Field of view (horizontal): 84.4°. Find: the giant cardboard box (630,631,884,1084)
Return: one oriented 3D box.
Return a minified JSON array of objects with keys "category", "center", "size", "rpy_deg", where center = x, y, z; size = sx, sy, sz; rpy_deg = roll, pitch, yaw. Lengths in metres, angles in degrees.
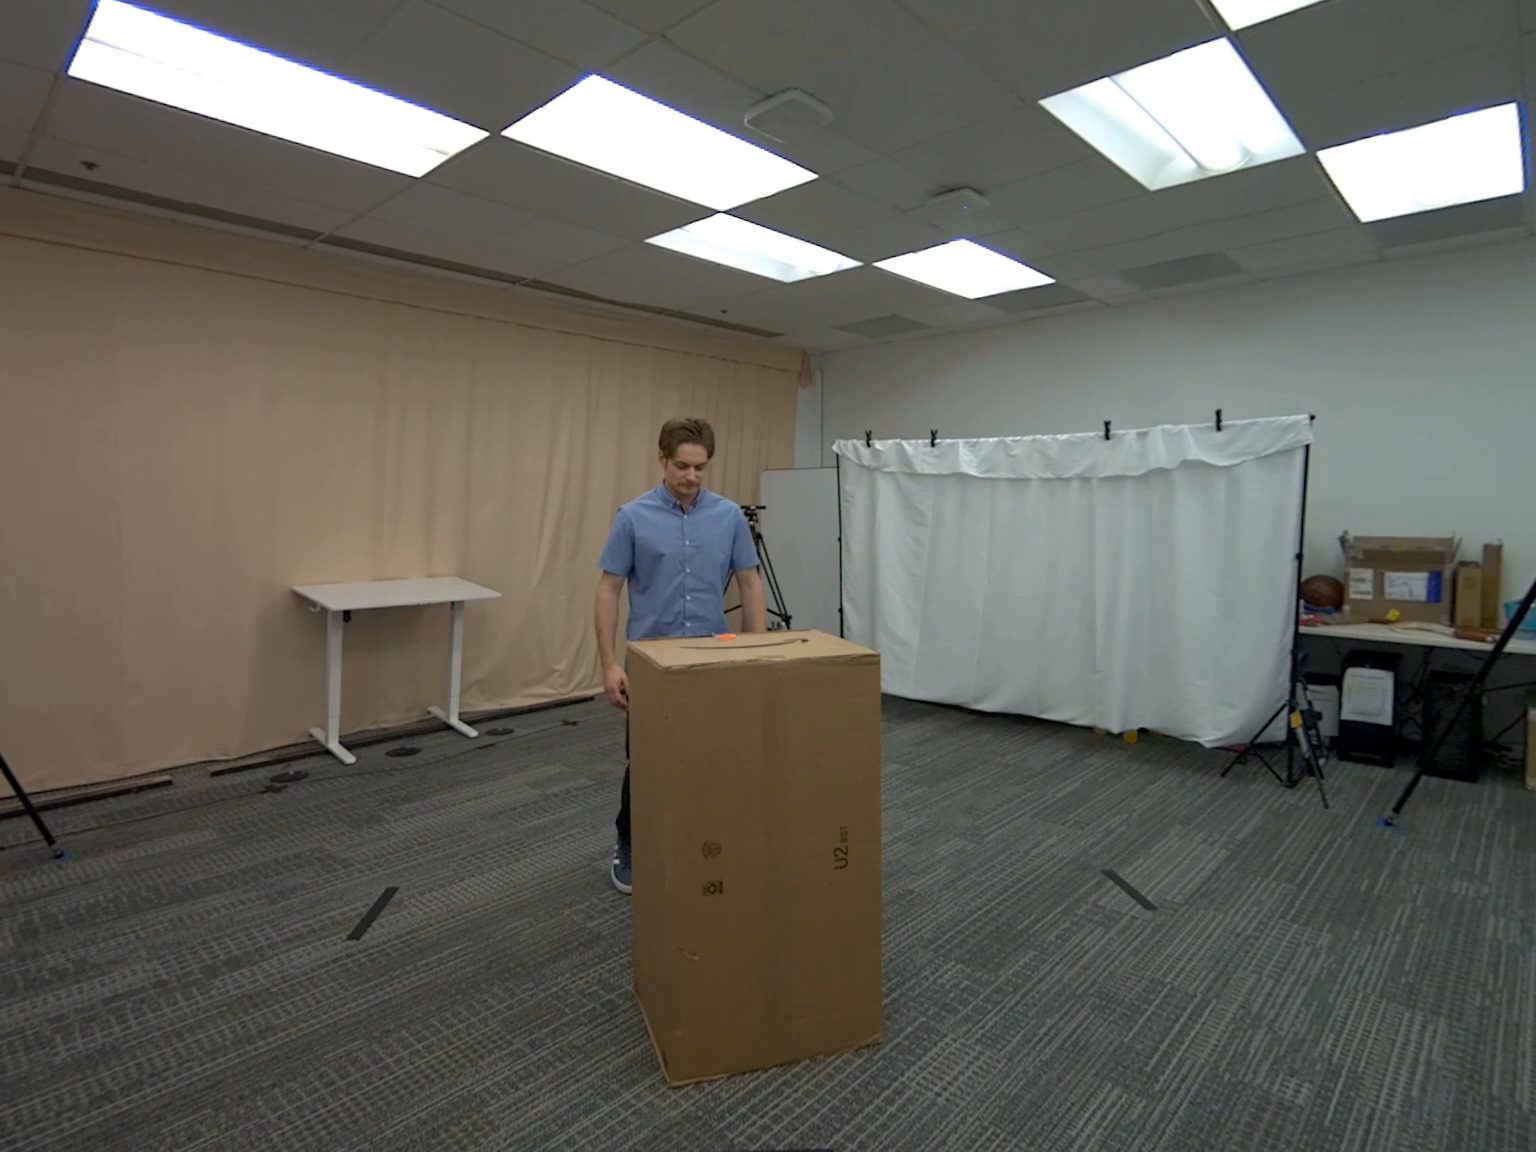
[{"category":"giant cardboard box","center":[-0.042,0.699,2.266],"size":[0.573,1.024,0.457],"rpy_deg":[-2,4,-20]}]
